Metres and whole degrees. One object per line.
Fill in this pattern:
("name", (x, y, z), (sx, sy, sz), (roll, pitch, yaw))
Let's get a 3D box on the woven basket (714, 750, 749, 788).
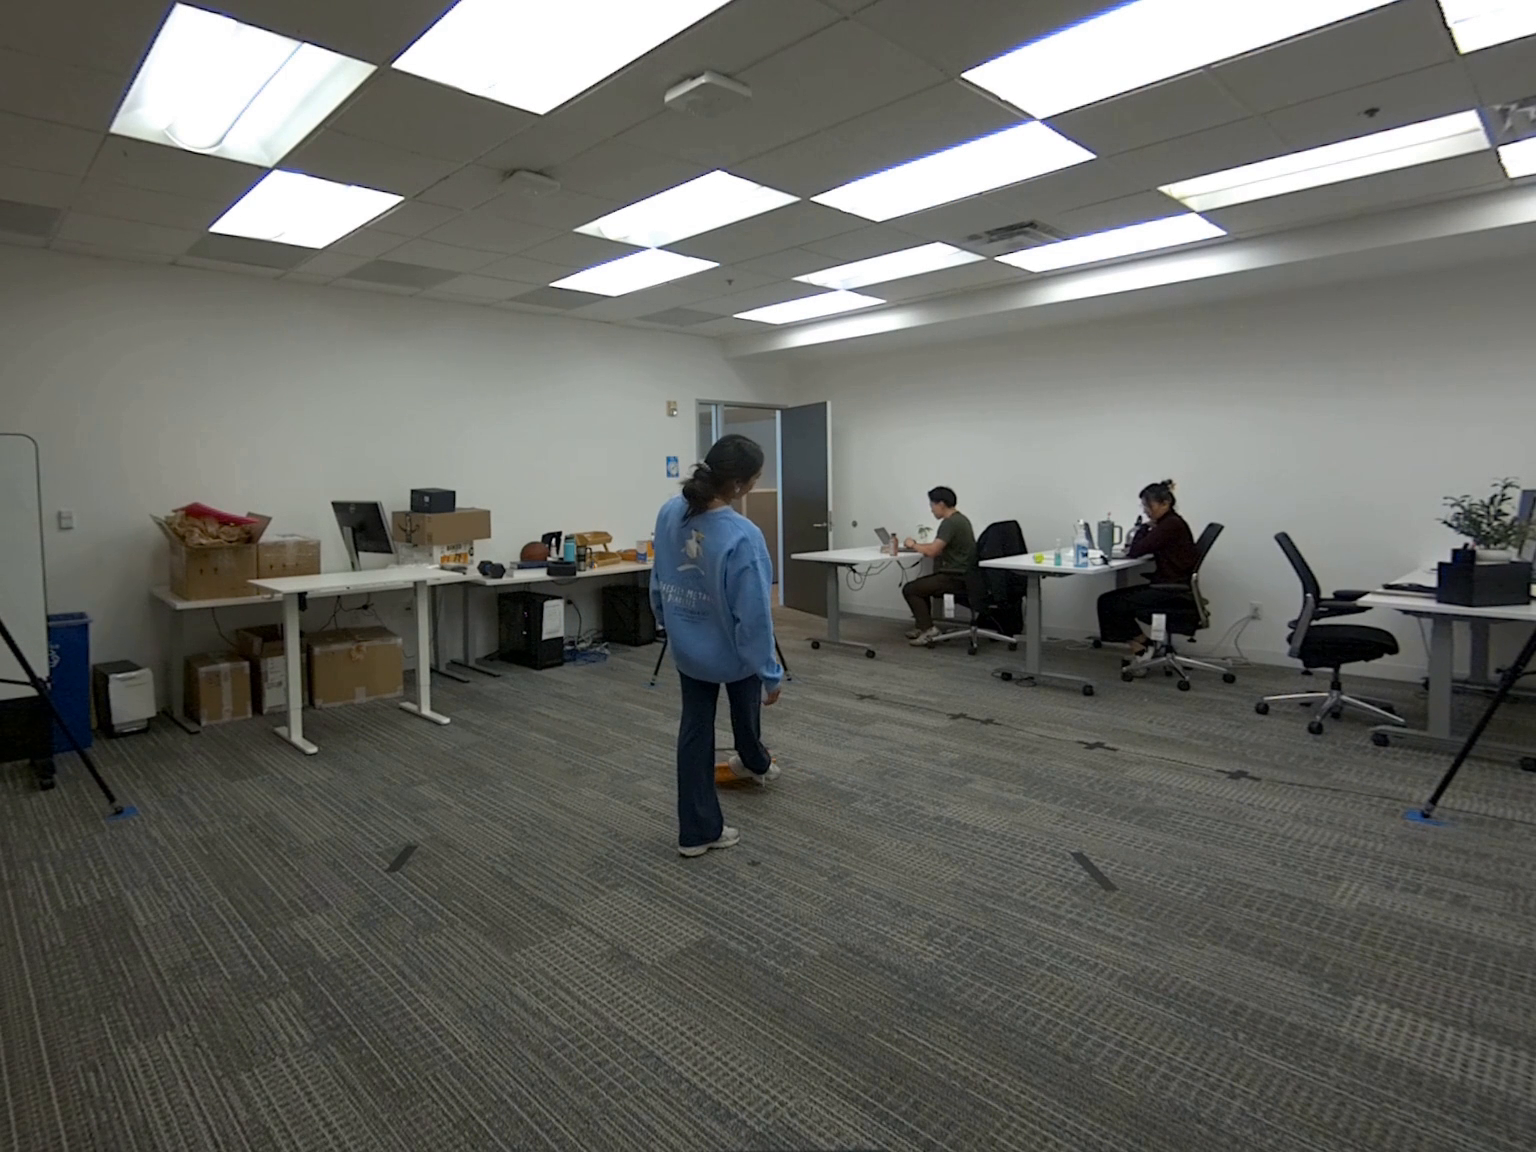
("woven basket", (-0.125, 0.903, 3.936), (0.347, 0.074, 0.253), (-3, -7, -12))
